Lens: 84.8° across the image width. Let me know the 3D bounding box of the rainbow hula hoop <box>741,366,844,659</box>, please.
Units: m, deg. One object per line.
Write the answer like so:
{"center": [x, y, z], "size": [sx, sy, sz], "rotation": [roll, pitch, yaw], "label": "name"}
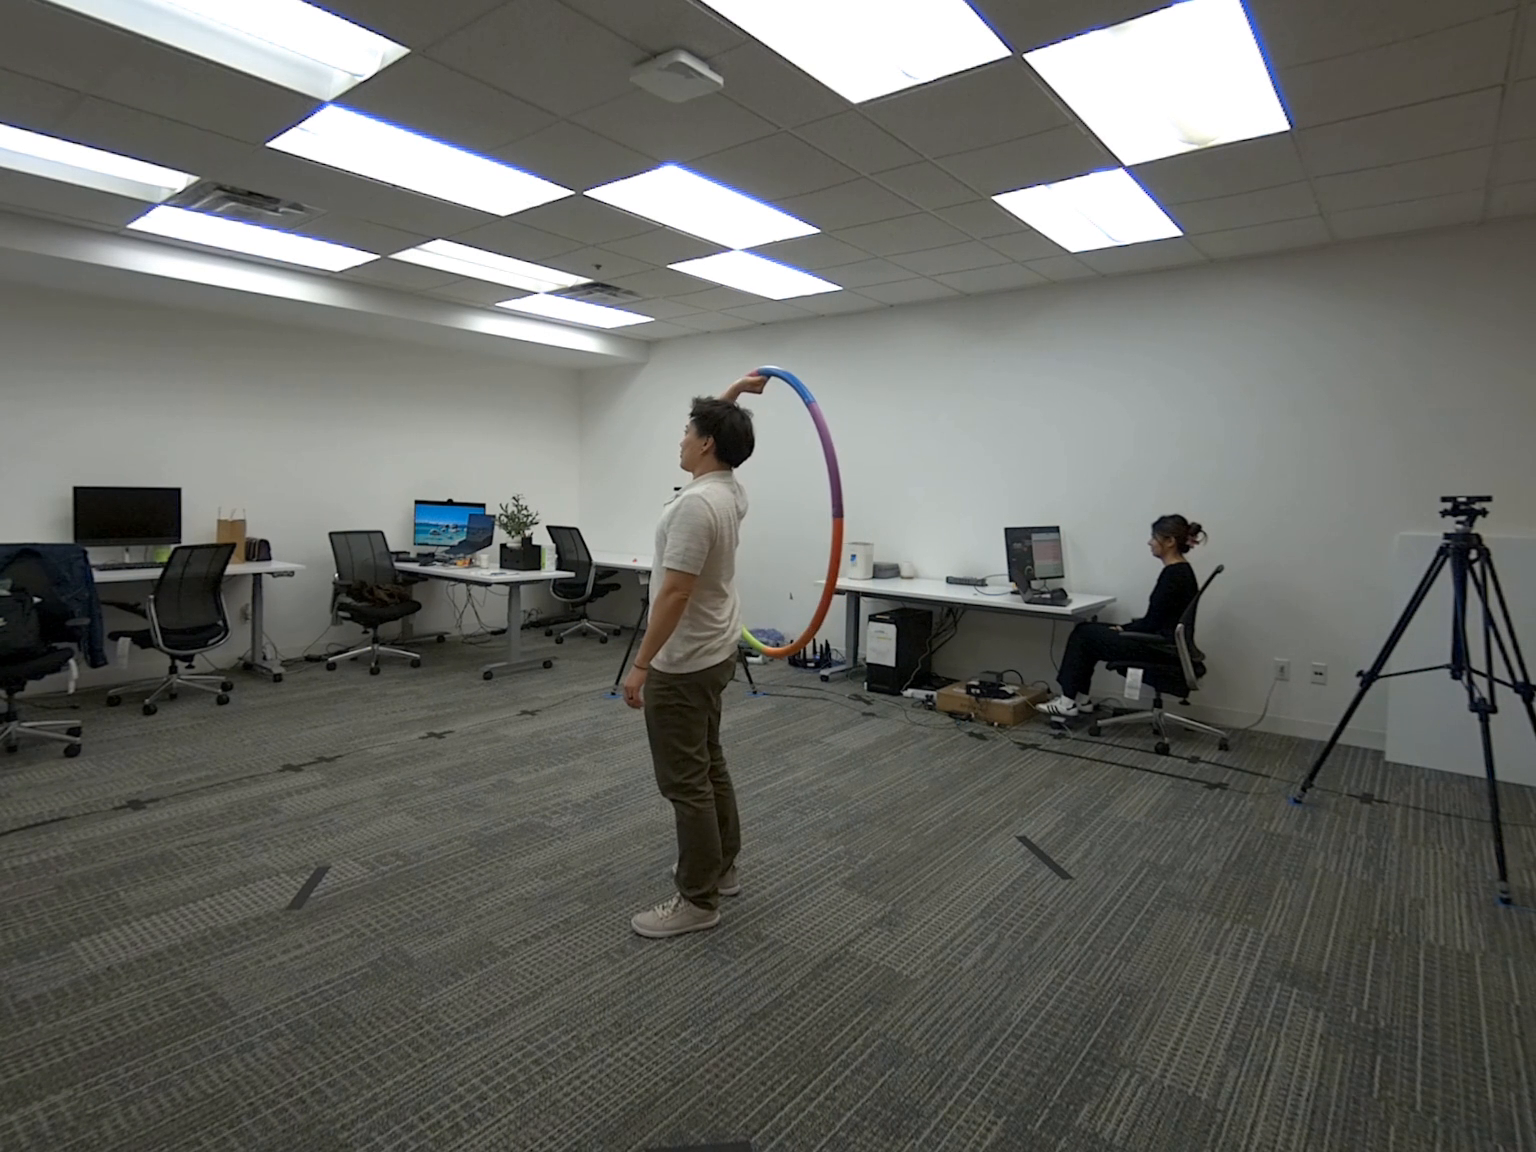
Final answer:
{"center": [-0.029, -0.221, 2.927], "size": [0.035, 0.974, 1.007], "rotation": [-3, 5, -28], "label": "rainbow hula hoop"}
